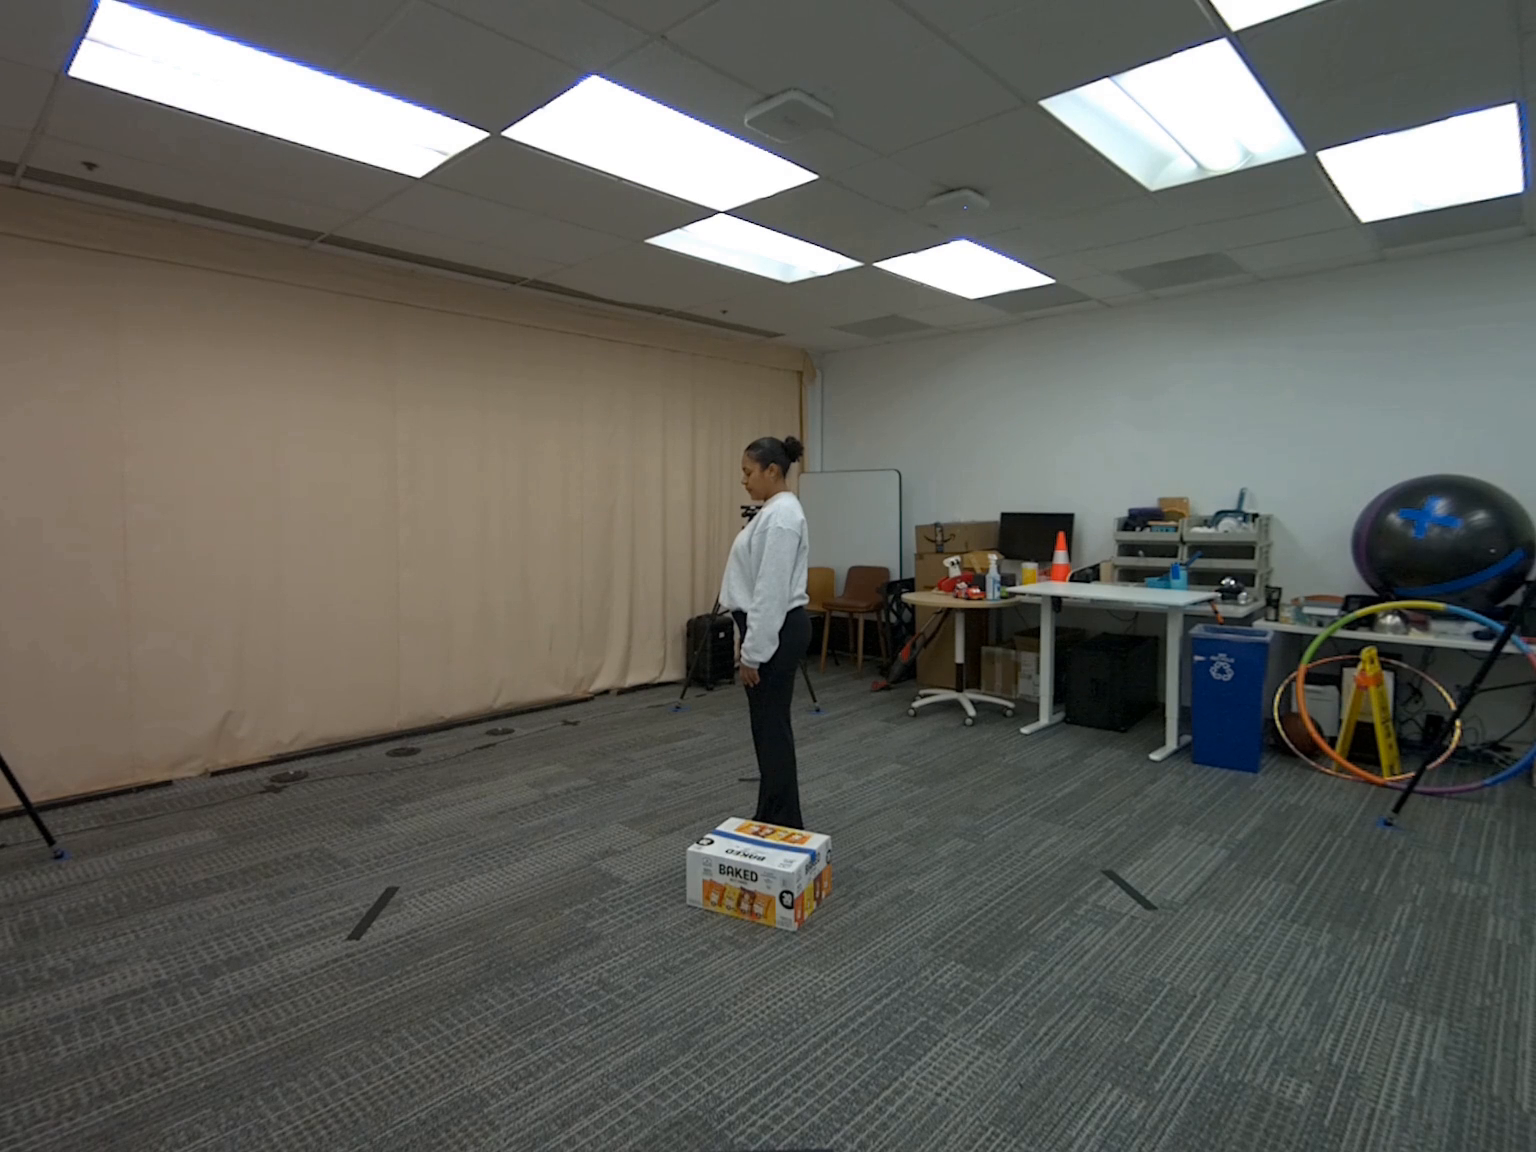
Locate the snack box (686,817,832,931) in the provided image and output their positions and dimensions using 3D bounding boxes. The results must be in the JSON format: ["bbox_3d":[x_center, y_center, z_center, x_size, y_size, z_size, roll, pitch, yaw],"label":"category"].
[{"bbox_3d":[-0.025,1.044,2.977,0.416,0.205,0.332,2,5,27],"label":"snack box"}]
